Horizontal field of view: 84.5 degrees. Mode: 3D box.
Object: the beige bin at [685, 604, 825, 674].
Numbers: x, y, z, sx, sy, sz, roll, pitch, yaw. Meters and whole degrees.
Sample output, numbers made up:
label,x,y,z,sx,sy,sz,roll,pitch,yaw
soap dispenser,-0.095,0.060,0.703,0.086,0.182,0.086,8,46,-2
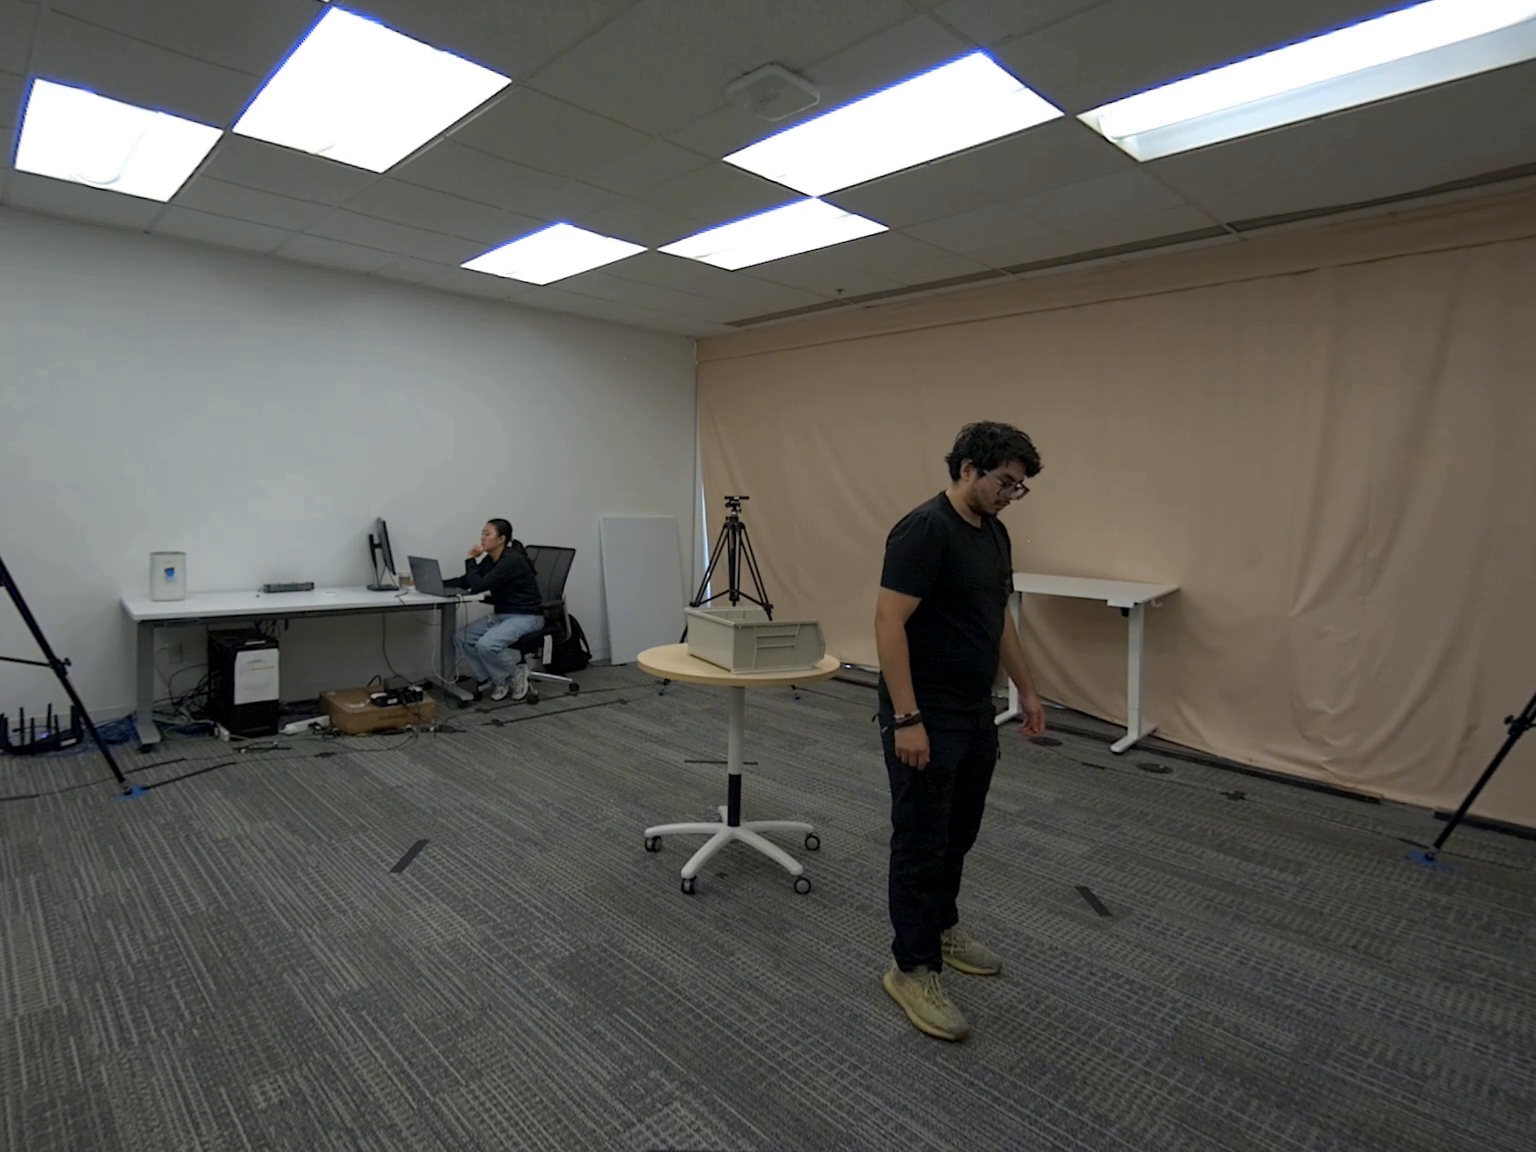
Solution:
label,x,y,z,sx,sy,sz,roll,pitch,yaw
beige bin,-0.062,0.230,3.127,0.370,0.188,0.432,-2,7,-28
